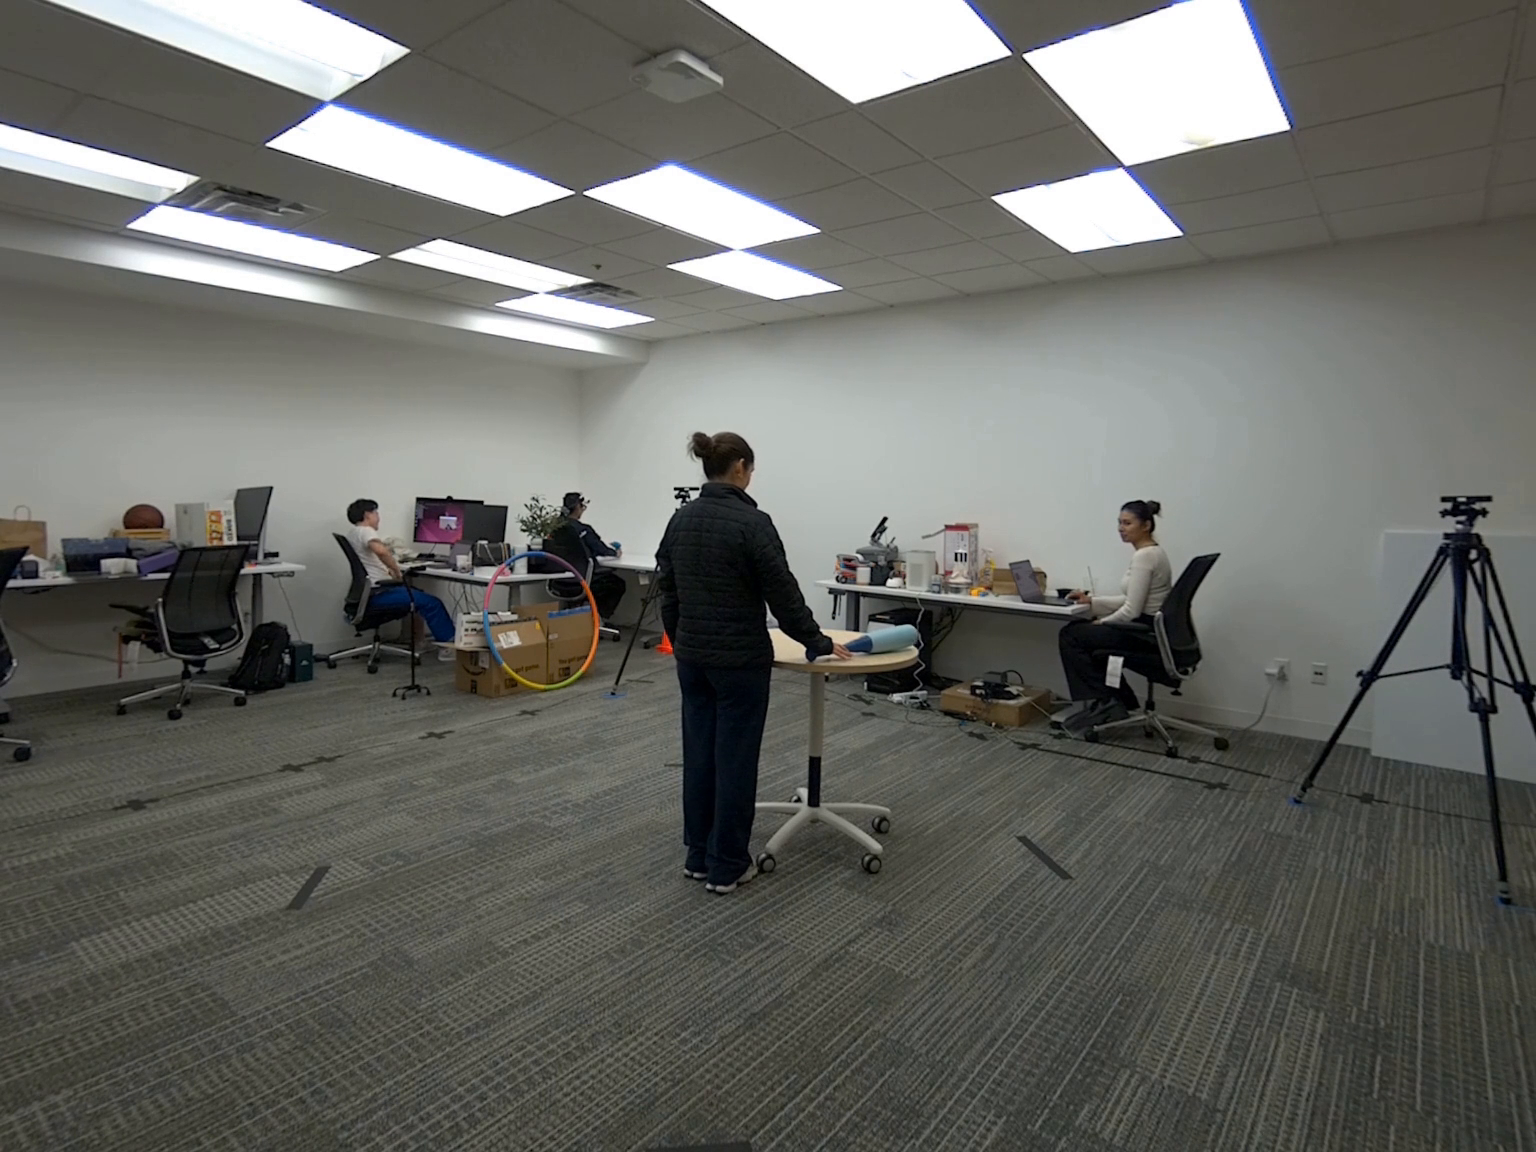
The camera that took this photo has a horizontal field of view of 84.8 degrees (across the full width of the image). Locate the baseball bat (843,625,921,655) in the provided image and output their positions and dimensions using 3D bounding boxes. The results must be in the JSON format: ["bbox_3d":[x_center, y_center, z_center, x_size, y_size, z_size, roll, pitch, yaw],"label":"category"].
[{"bbox_3d":[0.374,0.260,3.166,0.529,0.088,0.092,-8,9,-36],"label":"baseball bat"}]
